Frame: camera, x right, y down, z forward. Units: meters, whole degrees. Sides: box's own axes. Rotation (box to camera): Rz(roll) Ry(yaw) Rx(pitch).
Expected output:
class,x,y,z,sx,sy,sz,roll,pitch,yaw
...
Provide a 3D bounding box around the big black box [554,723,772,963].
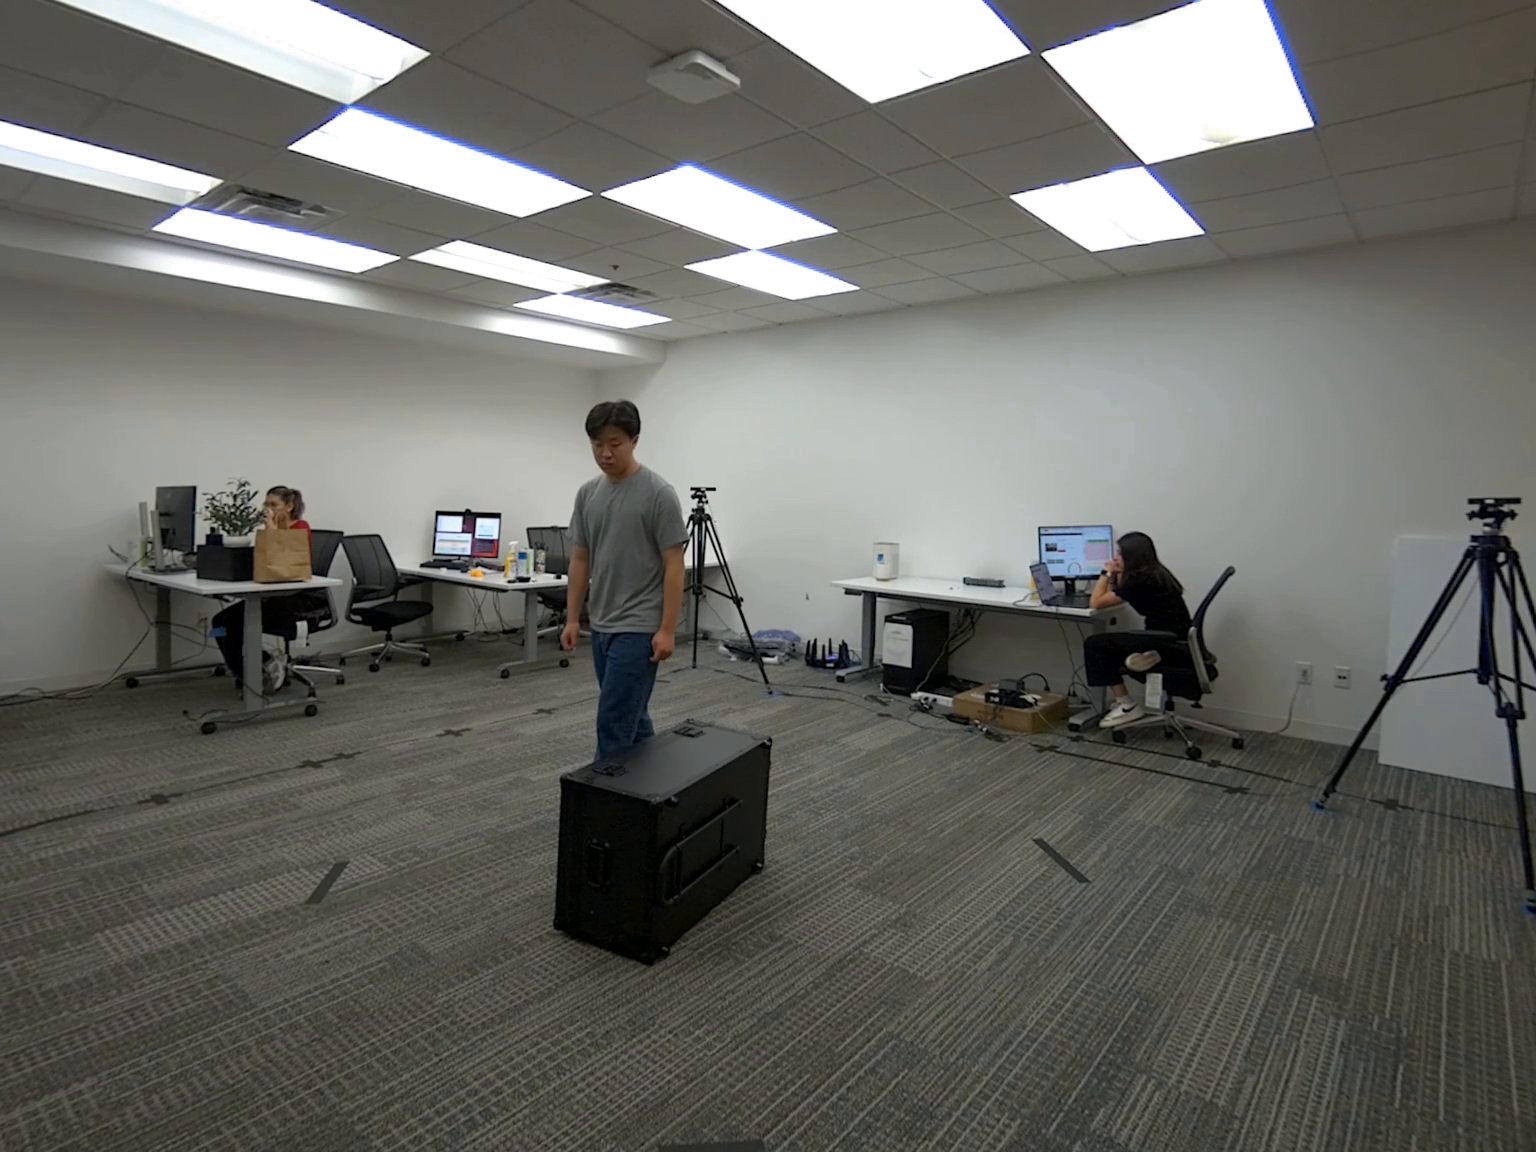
class,x,y,z,sx,sy,sz,roll,pitch,yaw
big black box,-0.303,0.827,2.883,0.407,0.519,0.842,5,6,25
